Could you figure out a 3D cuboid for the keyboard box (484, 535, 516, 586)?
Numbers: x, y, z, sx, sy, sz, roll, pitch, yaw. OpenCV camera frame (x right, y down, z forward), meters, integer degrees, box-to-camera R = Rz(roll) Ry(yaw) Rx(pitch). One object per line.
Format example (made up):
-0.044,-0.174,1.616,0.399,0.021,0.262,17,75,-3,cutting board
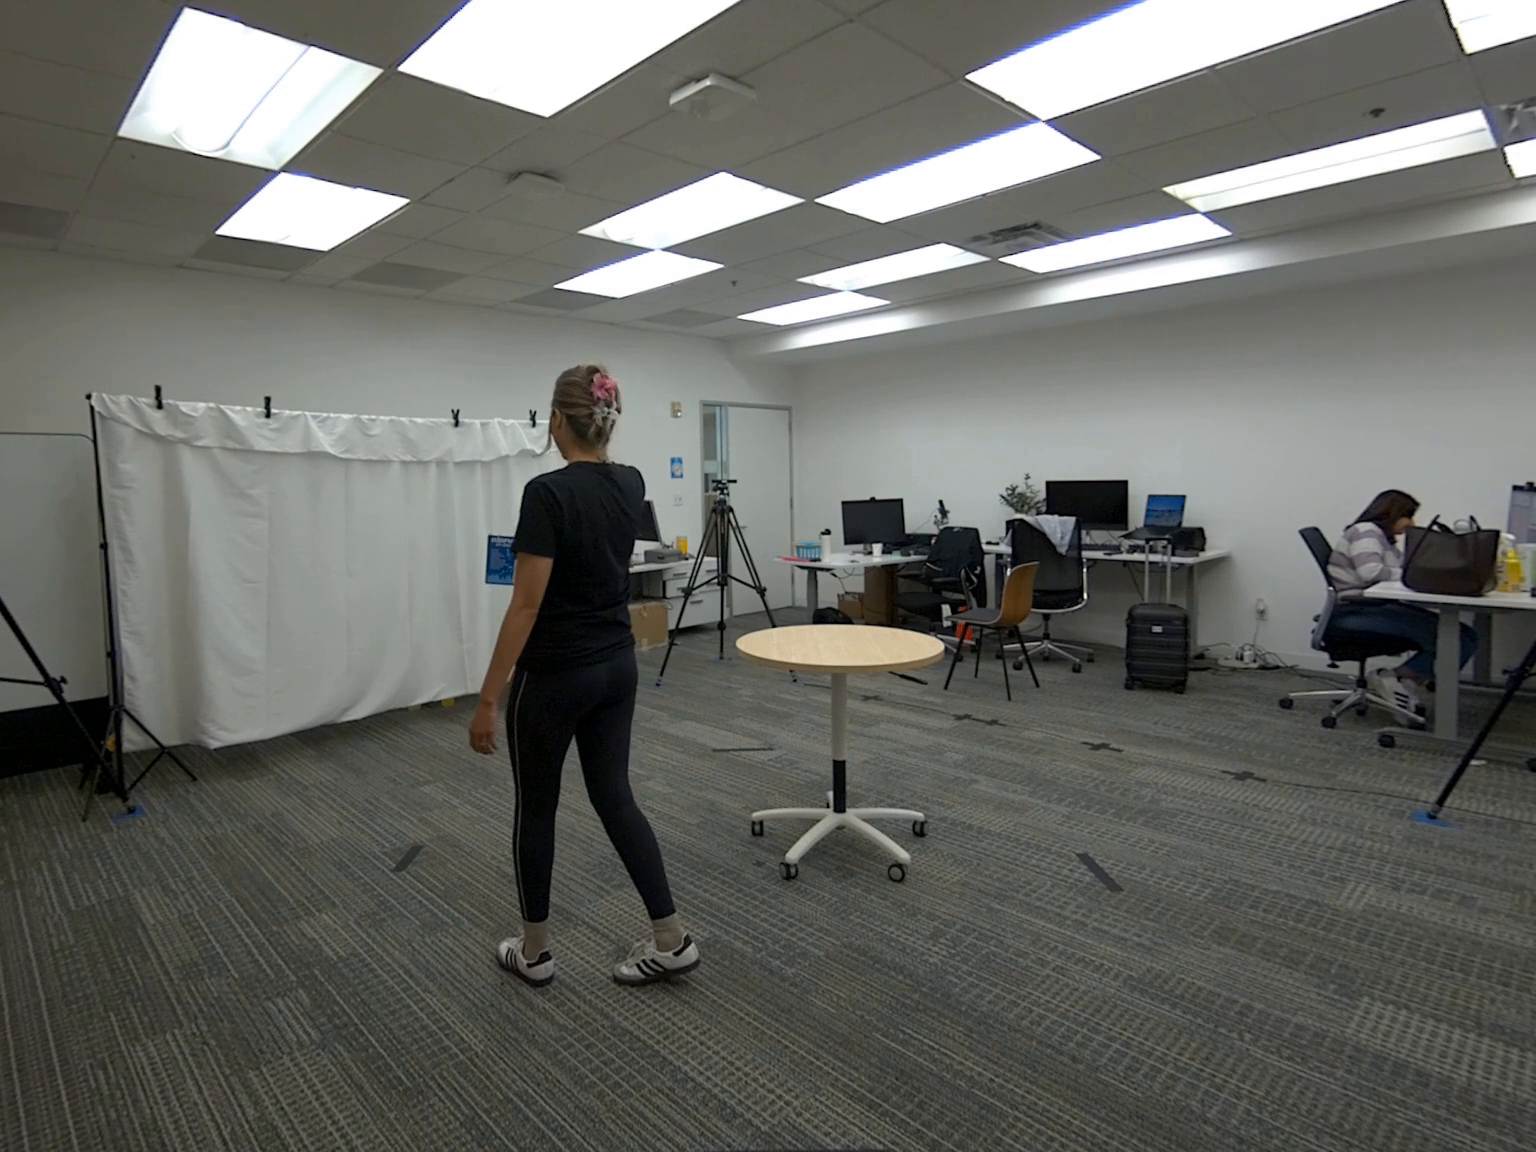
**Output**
-0.757,-0.047,2.985,0.434,0.175,0.060,4,4,-6,keyboard box
